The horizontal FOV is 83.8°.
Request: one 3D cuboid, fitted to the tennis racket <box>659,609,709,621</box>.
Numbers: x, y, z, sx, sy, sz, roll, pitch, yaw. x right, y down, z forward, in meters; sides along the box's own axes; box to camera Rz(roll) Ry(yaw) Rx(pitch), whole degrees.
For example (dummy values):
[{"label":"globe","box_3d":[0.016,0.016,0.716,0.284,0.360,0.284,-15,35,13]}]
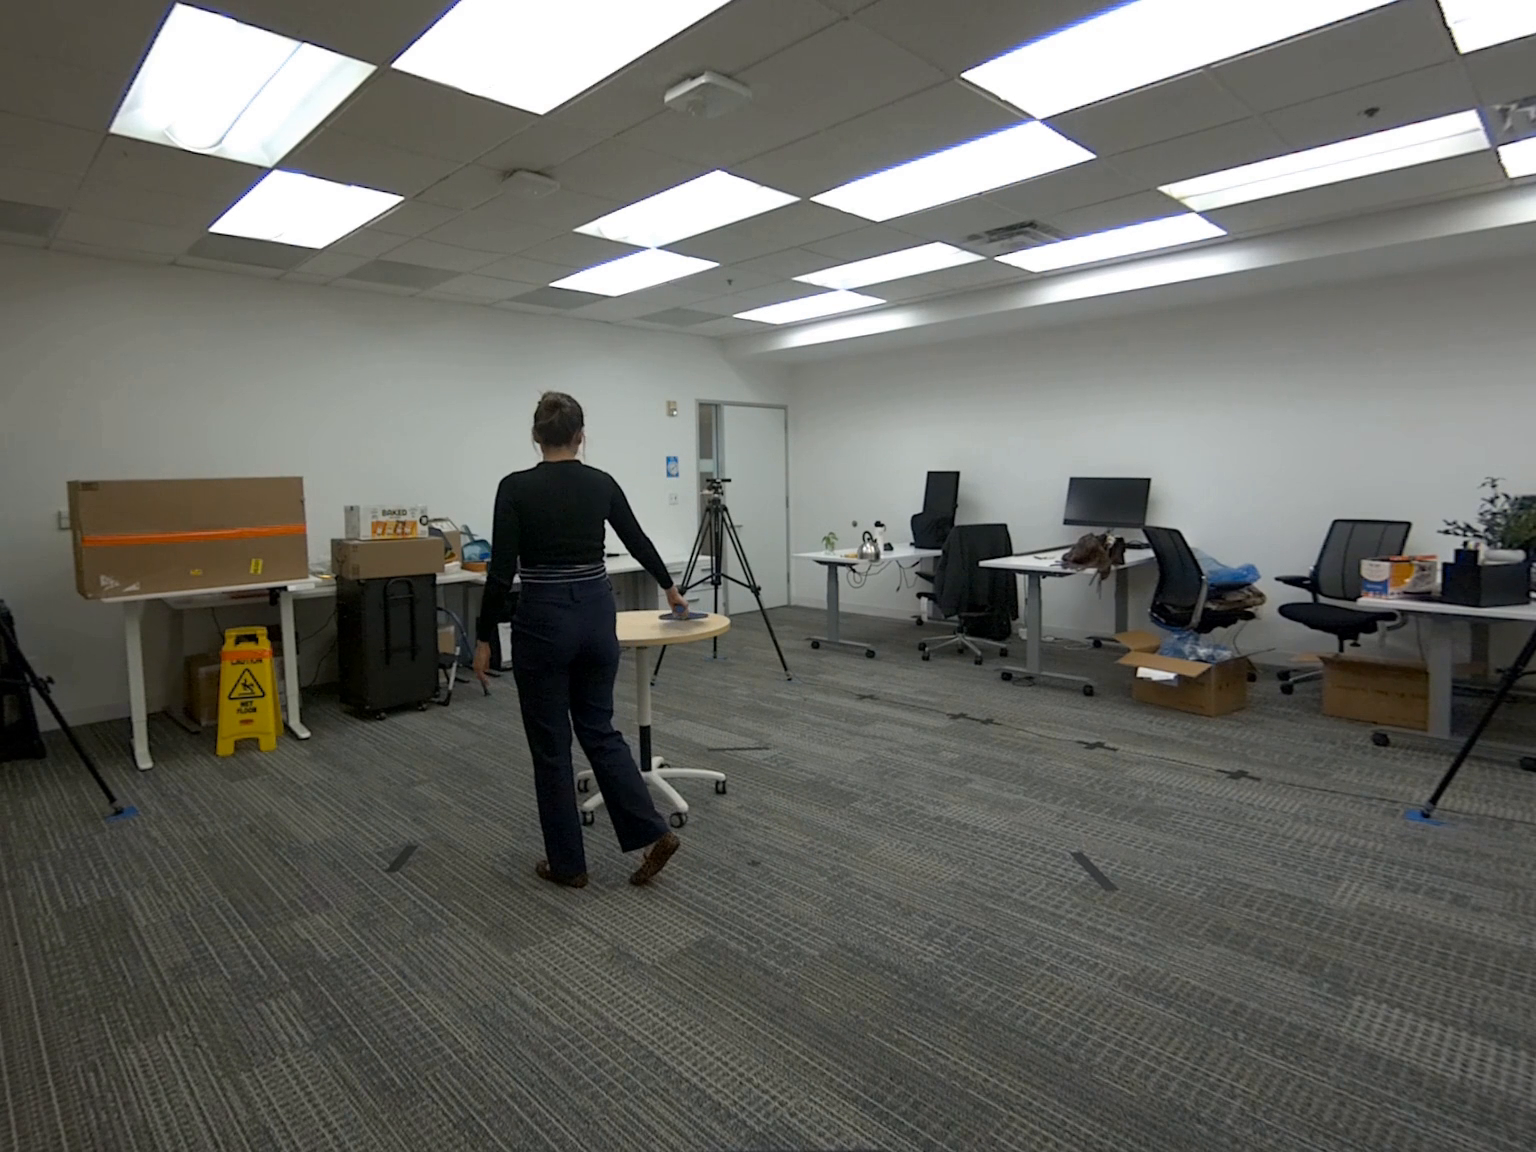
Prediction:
[{"label":"tennis racket","box_3d":[-0.360,0.163,3.546,0.213,0.032,0.431,-2,-7,-4]}]
